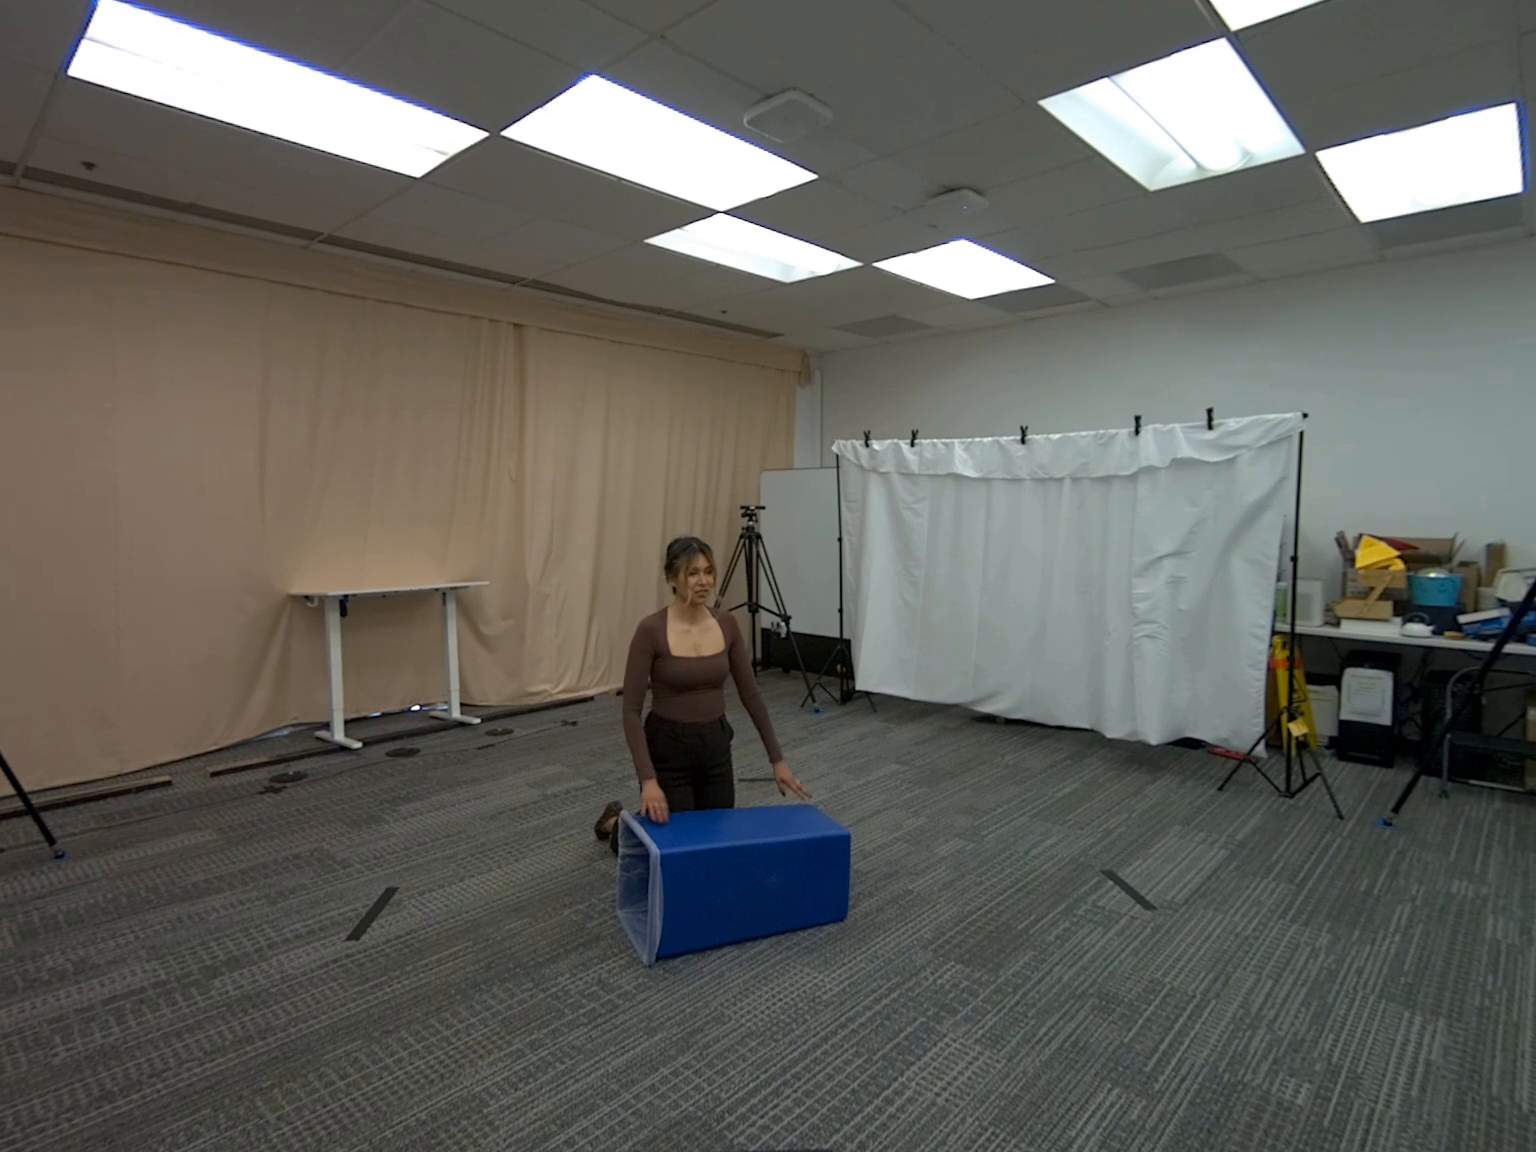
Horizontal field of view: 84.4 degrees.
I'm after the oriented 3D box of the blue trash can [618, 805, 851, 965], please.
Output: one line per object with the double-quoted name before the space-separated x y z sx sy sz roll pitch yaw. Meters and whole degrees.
"blue trash can" -0.106 0.984 2.817 0.698 0.377 0.383 0 3 -22
